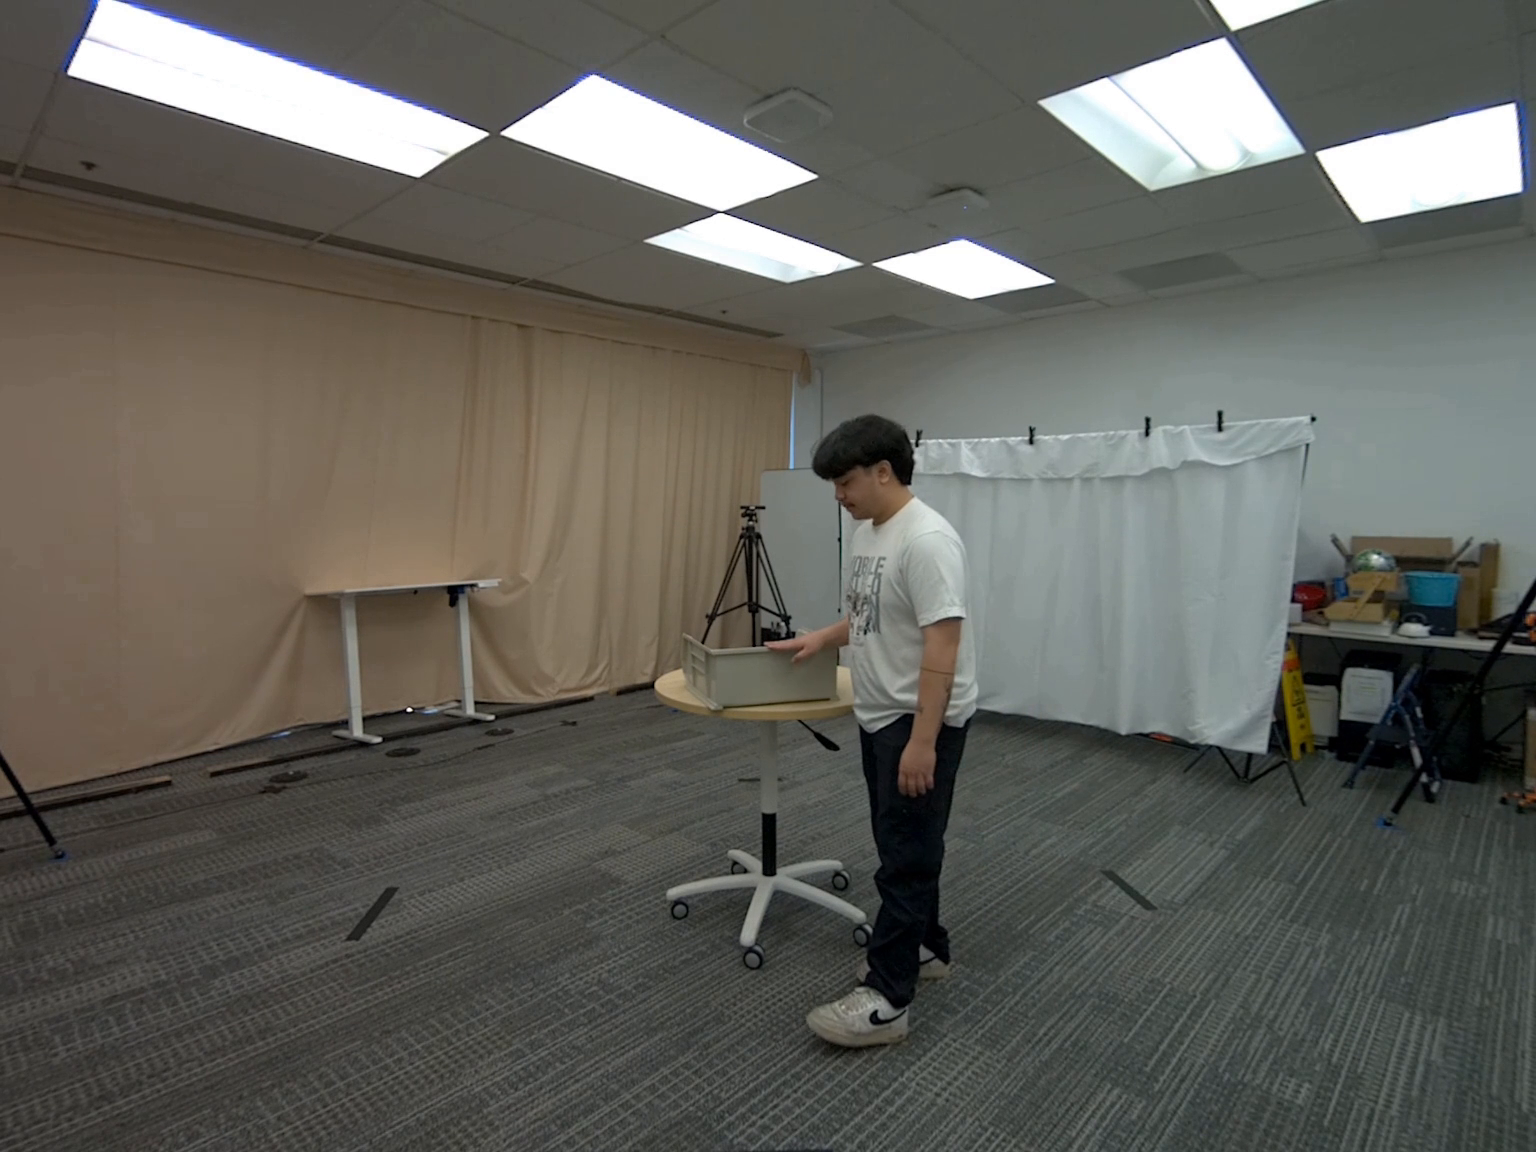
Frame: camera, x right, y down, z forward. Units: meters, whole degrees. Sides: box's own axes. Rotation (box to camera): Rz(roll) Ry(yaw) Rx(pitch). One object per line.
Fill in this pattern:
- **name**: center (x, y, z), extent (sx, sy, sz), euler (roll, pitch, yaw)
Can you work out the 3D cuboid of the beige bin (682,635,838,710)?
- **beige bin**: center (-0.026, 0.287, 2.679), extent (0.415, 0.188, 0.385), euler (-2, 6, -18)
